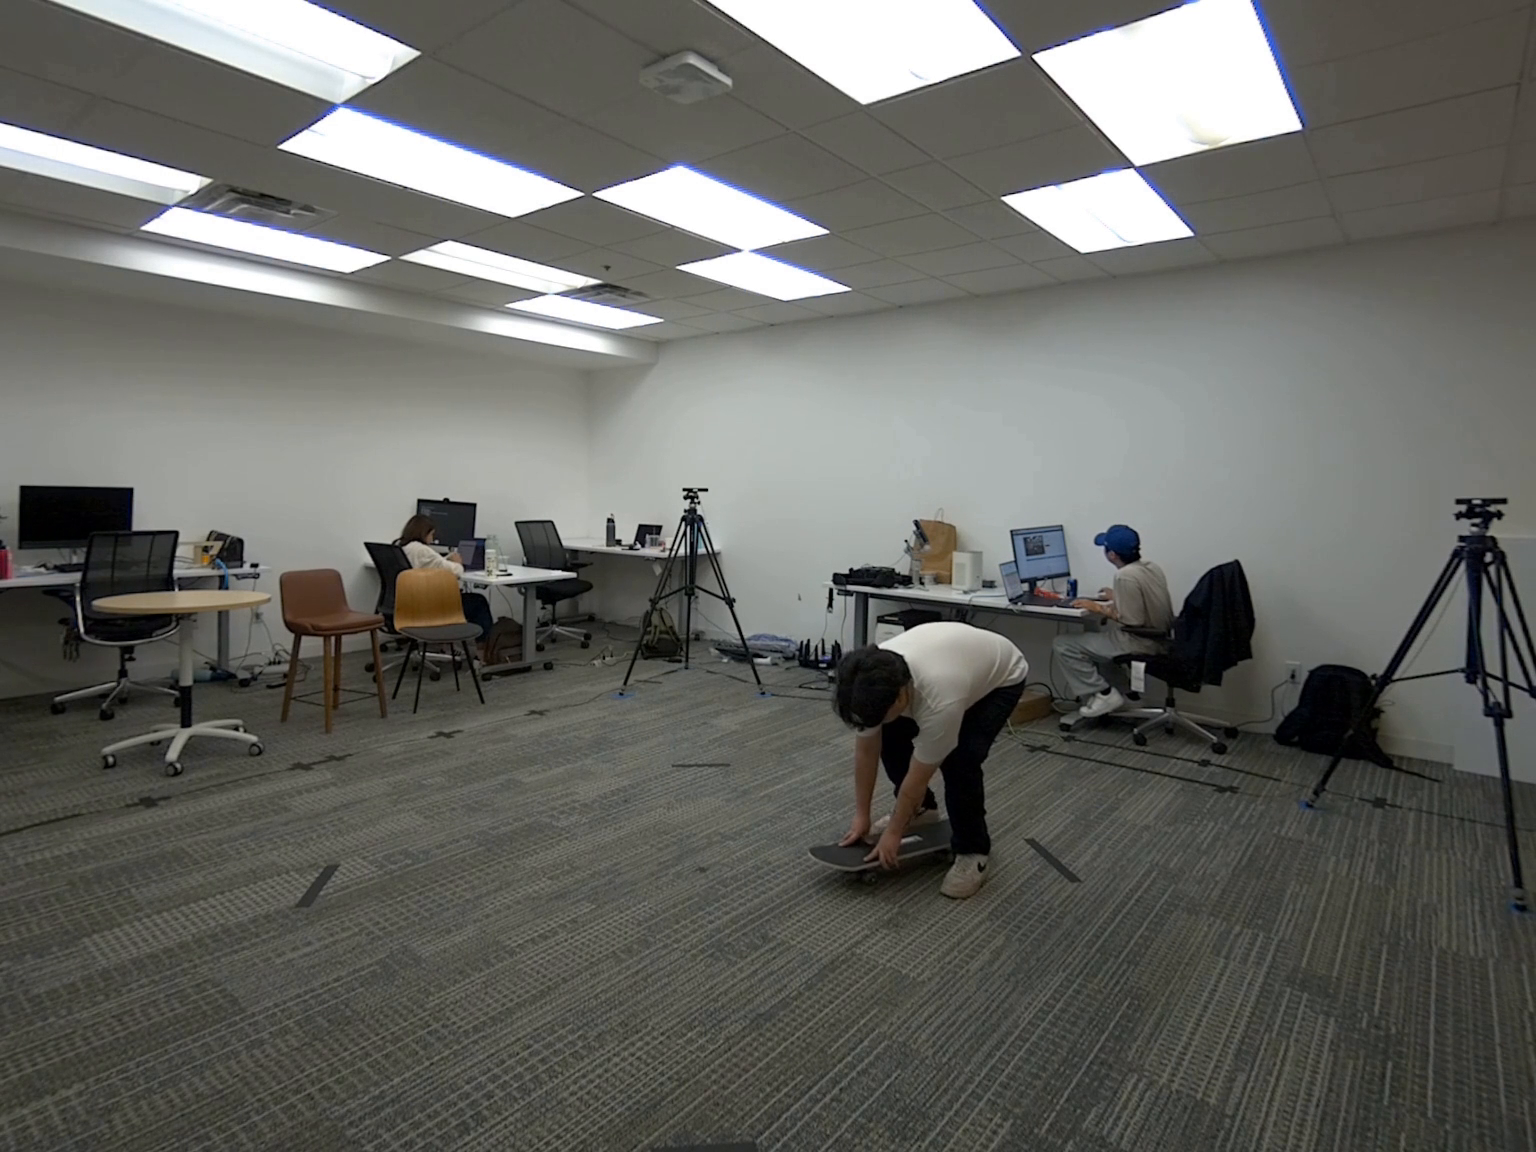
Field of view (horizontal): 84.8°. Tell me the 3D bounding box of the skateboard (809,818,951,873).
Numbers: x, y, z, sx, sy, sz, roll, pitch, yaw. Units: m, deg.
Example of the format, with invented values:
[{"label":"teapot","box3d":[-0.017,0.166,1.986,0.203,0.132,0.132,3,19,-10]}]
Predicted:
[{"label":"skateboard","box3d":[0.483,1.029,3.187,0.765,0.110,0.199,-2,6,-28]}]
